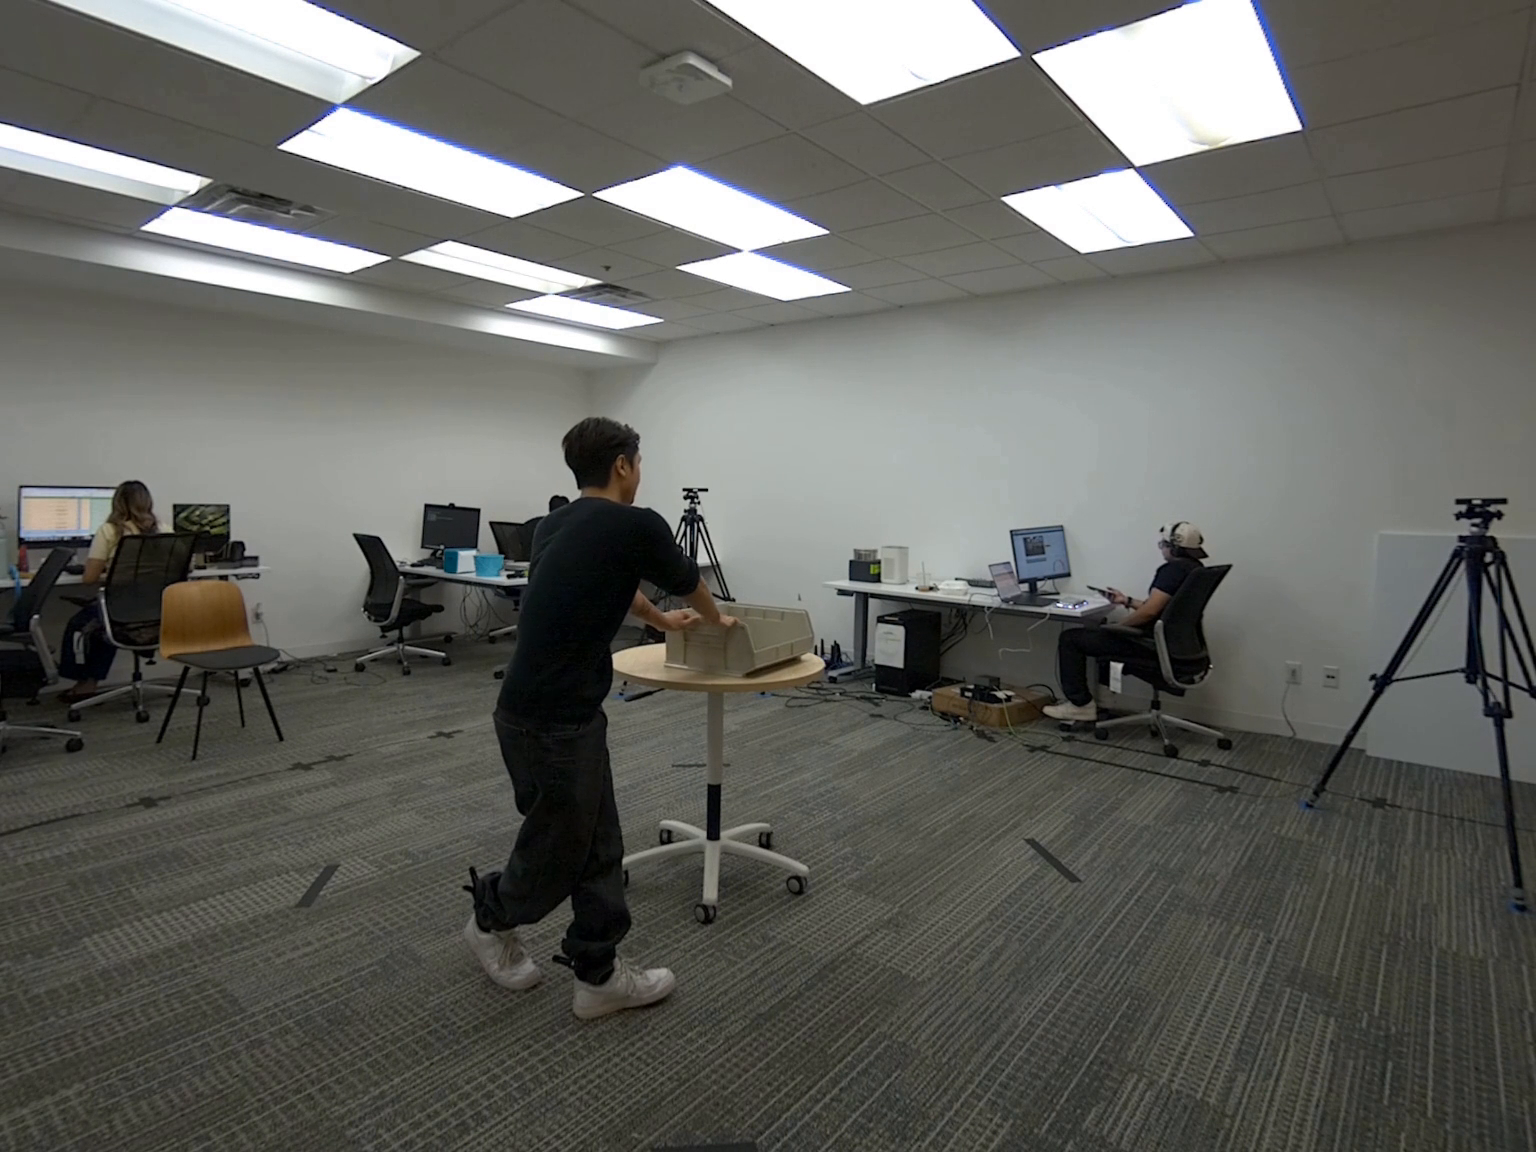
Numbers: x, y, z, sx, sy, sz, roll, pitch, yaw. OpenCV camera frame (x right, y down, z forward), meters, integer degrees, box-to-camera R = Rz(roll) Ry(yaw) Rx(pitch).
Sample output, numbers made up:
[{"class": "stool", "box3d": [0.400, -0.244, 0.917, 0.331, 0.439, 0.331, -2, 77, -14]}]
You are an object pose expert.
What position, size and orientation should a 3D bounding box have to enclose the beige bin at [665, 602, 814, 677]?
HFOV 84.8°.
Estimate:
[{"class": "beige bin", "box3d": [-0.107, 0.208, 2.961, 0.388, 0.188, 0.411, 1, 5, 32]}]
